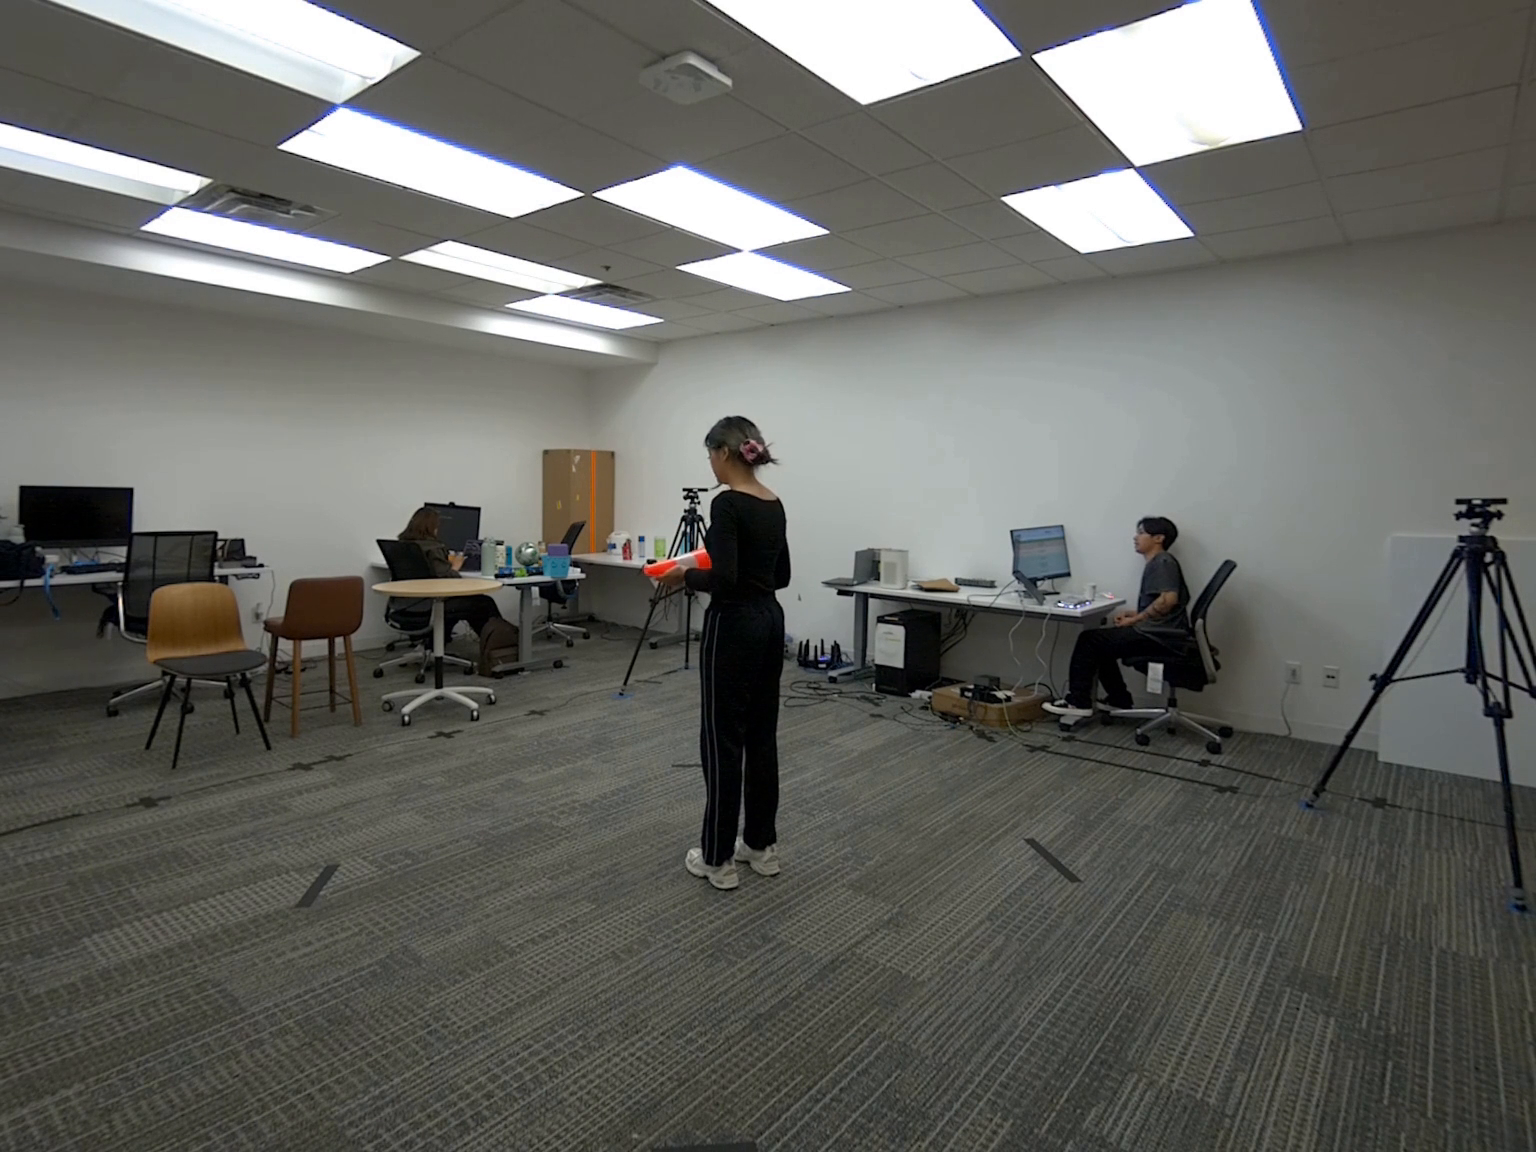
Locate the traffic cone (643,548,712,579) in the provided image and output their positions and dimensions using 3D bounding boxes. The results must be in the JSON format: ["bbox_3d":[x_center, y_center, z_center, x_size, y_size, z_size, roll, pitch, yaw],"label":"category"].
[{"bbox_3d":[-0.311,-0.033,3.099,0.373,0.208,0.206,-8,-25,-49],"label":"traffic cone"}]
